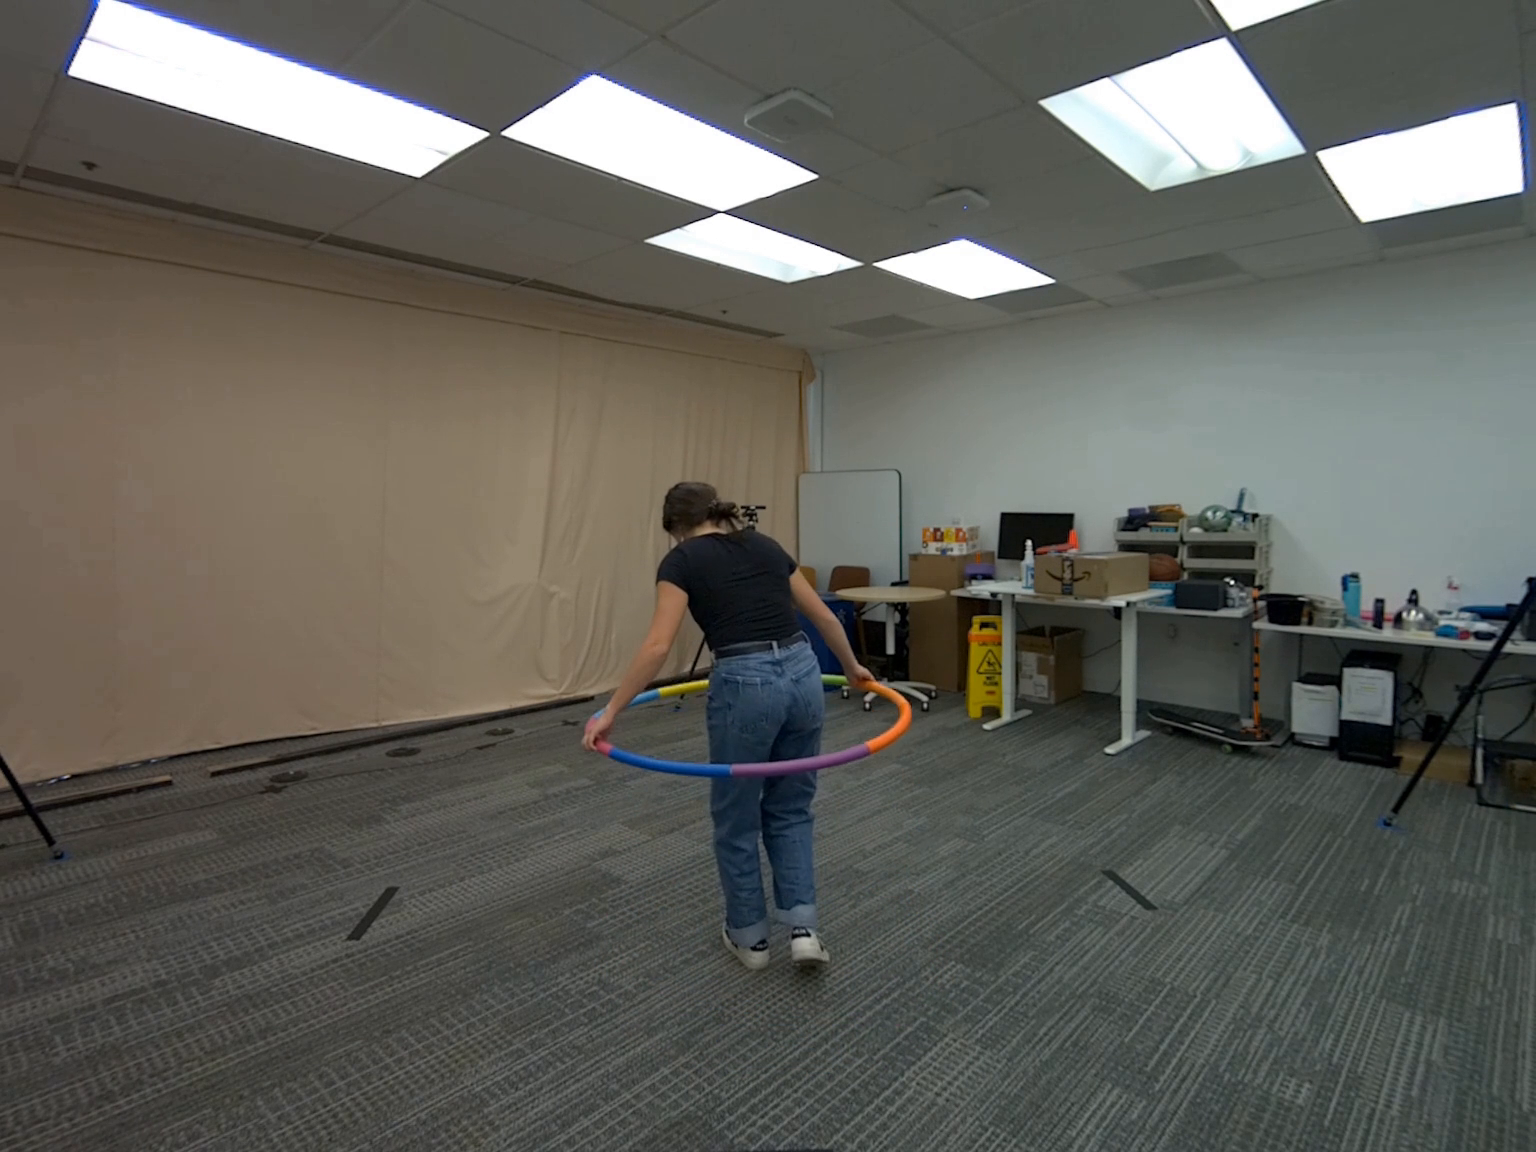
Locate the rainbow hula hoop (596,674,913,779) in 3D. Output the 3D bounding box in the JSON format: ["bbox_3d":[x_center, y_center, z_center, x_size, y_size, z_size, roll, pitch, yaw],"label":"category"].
[{"bbox_3d":[-0.064,0.427,2.573,0.978,0.035,0.983,-5,6,-1],"label":"rainbow hula hoop"}]
